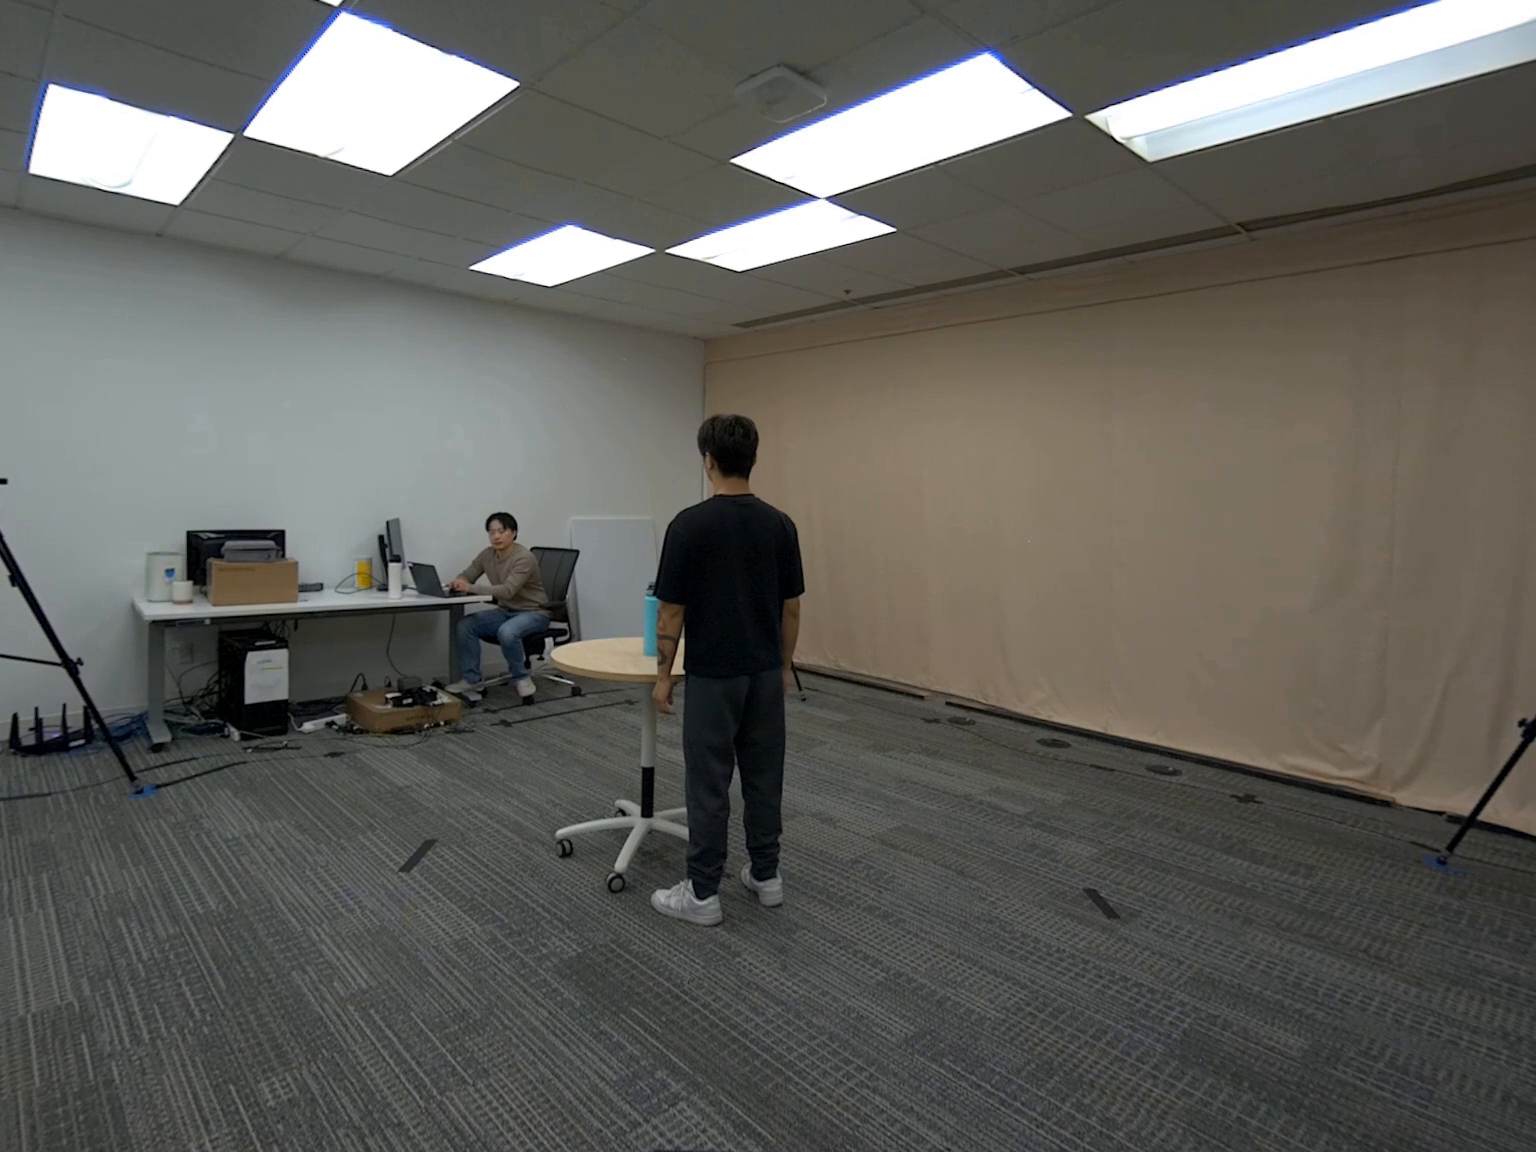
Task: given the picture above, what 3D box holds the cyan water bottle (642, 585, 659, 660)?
[{"bbox_3d":[-0.439,0.167,3.250,0.092,0.283,0.092,4,2,-2],"label":"cyan water bottle"}]
